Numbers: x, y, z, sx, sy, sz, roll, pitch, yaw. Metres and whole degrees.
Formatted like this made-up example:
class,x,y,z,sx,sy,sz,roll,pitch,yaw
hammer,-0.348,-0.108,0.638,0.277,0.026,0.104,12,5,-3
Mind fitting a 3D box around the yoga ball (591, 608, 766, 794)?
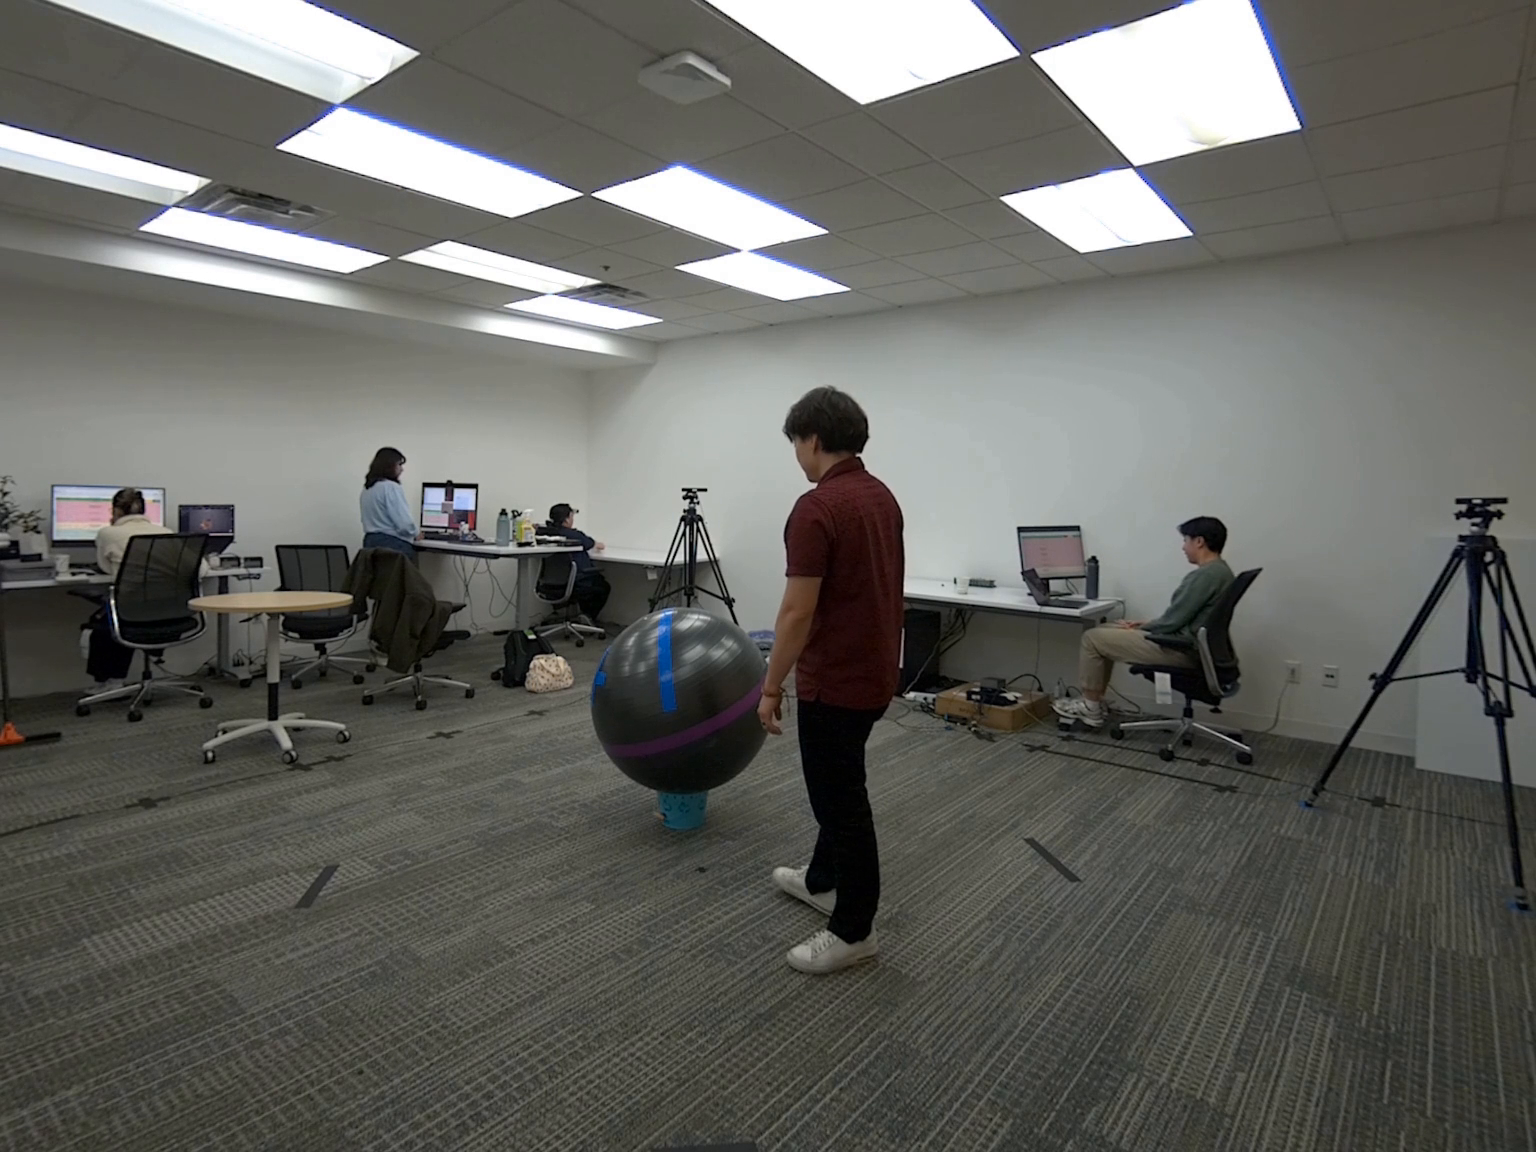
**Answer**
class,x,y,z,sx,sy,sz,roll,pitch,yaw
yoga ball,-0.370,0.517,3.548,0.757,0.755,0.762,1,4,-2
